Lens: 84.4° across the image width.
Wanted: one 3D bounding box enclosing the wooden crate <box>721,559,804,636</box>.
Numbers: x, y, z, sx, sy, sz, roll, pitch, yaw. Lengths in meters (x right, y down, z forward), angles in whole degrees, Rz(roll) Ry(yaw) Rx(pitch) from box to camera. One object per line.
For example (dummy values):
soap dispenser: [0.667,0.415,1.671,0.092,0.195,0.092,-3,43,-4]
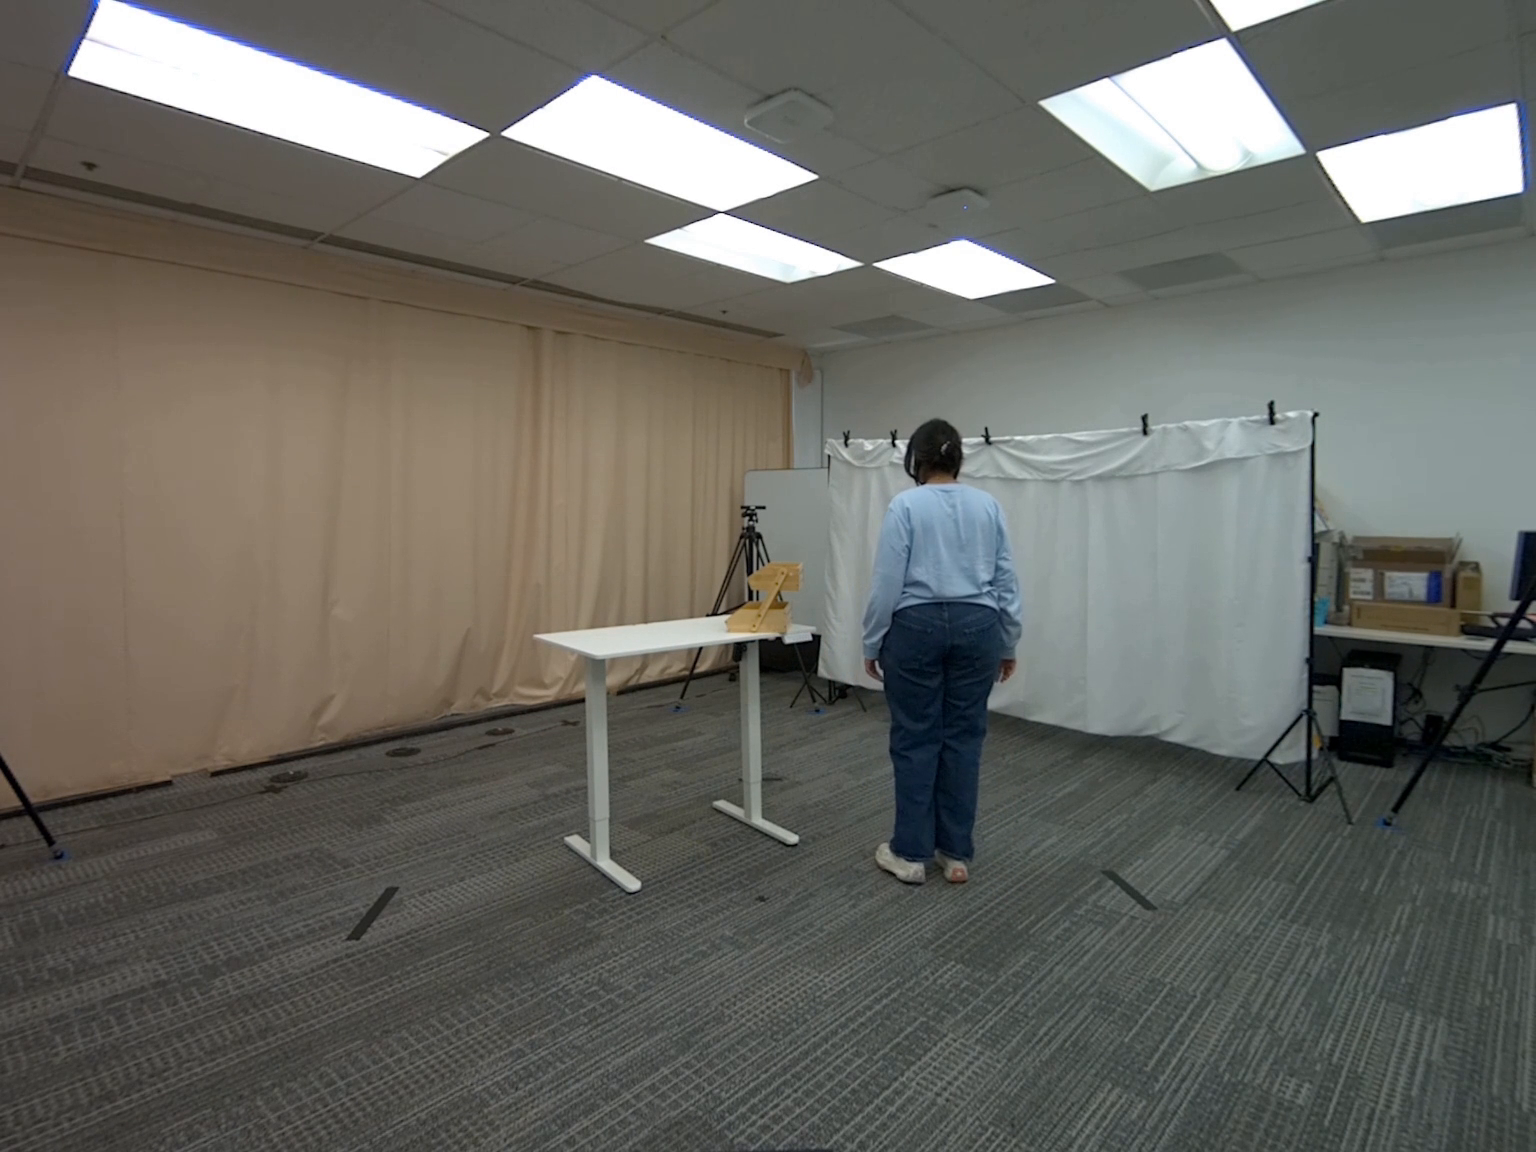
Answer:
wooden crate: [-0.018,0.080,3.510,0.305,0.273,0.322,1,4,8]
